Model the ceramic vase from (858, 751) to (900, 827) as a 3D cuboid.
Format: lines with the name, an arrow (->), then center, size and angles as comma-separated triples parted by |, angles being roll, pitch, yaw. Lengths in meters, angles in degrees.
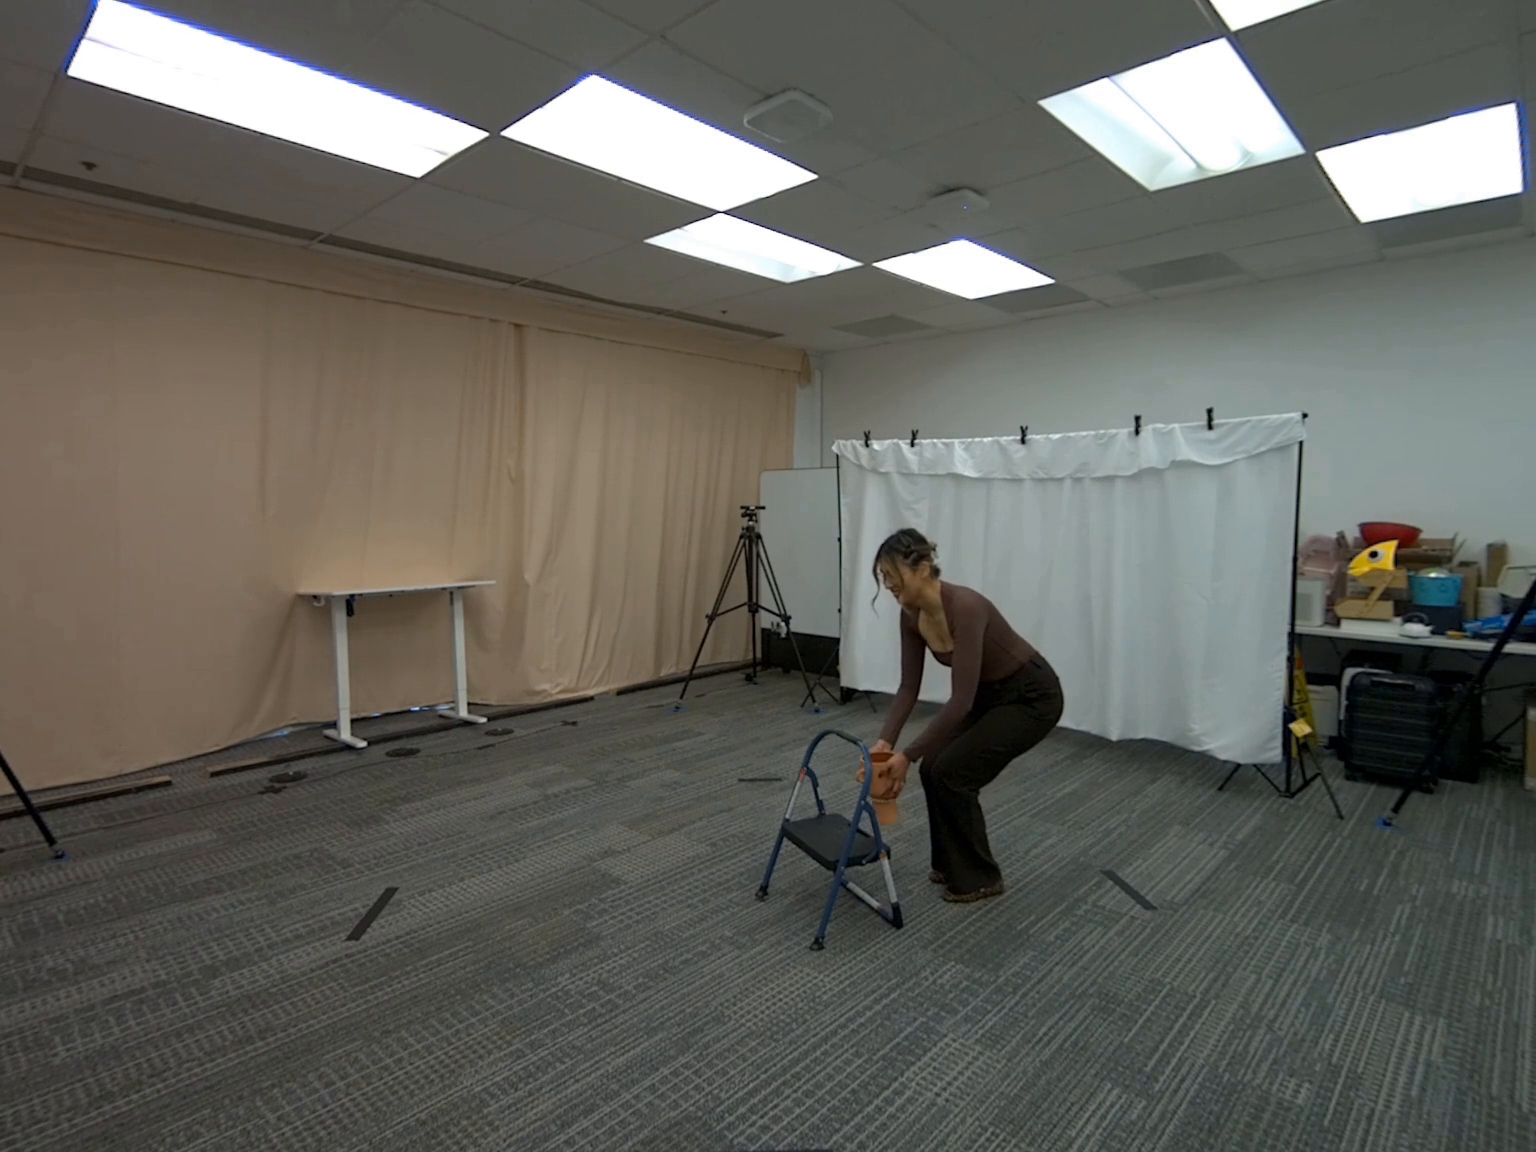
ceramic vase -> 0.400, 0.730, 2.900 | 0.161, 0.219, 0.133 | -7, 2, 12
